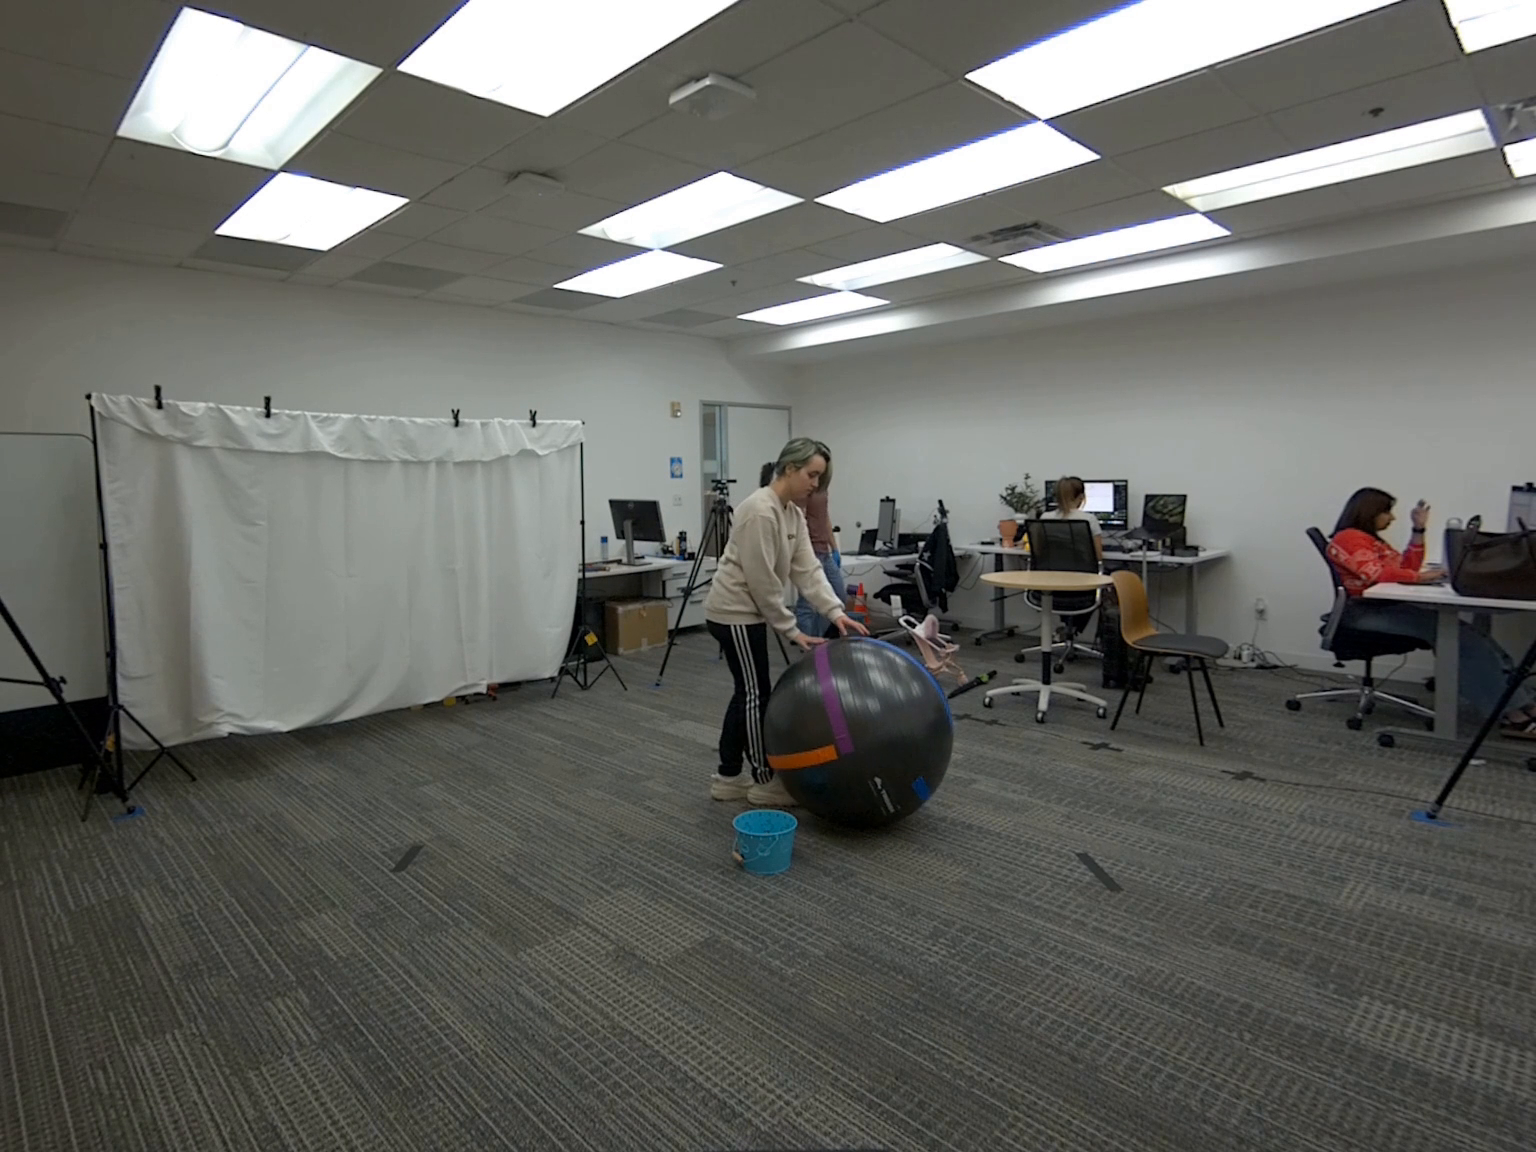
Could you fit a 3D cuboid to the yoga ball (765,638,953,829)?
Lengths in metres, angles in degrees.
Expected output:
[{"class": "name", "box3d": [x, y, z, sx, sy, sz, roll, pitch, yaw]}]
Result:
[{"class": "yoga ball", "box3d": [0.367, 0.635, 3.480, 0.757, 0.755, 0.762, -1, 5, -2]}]
